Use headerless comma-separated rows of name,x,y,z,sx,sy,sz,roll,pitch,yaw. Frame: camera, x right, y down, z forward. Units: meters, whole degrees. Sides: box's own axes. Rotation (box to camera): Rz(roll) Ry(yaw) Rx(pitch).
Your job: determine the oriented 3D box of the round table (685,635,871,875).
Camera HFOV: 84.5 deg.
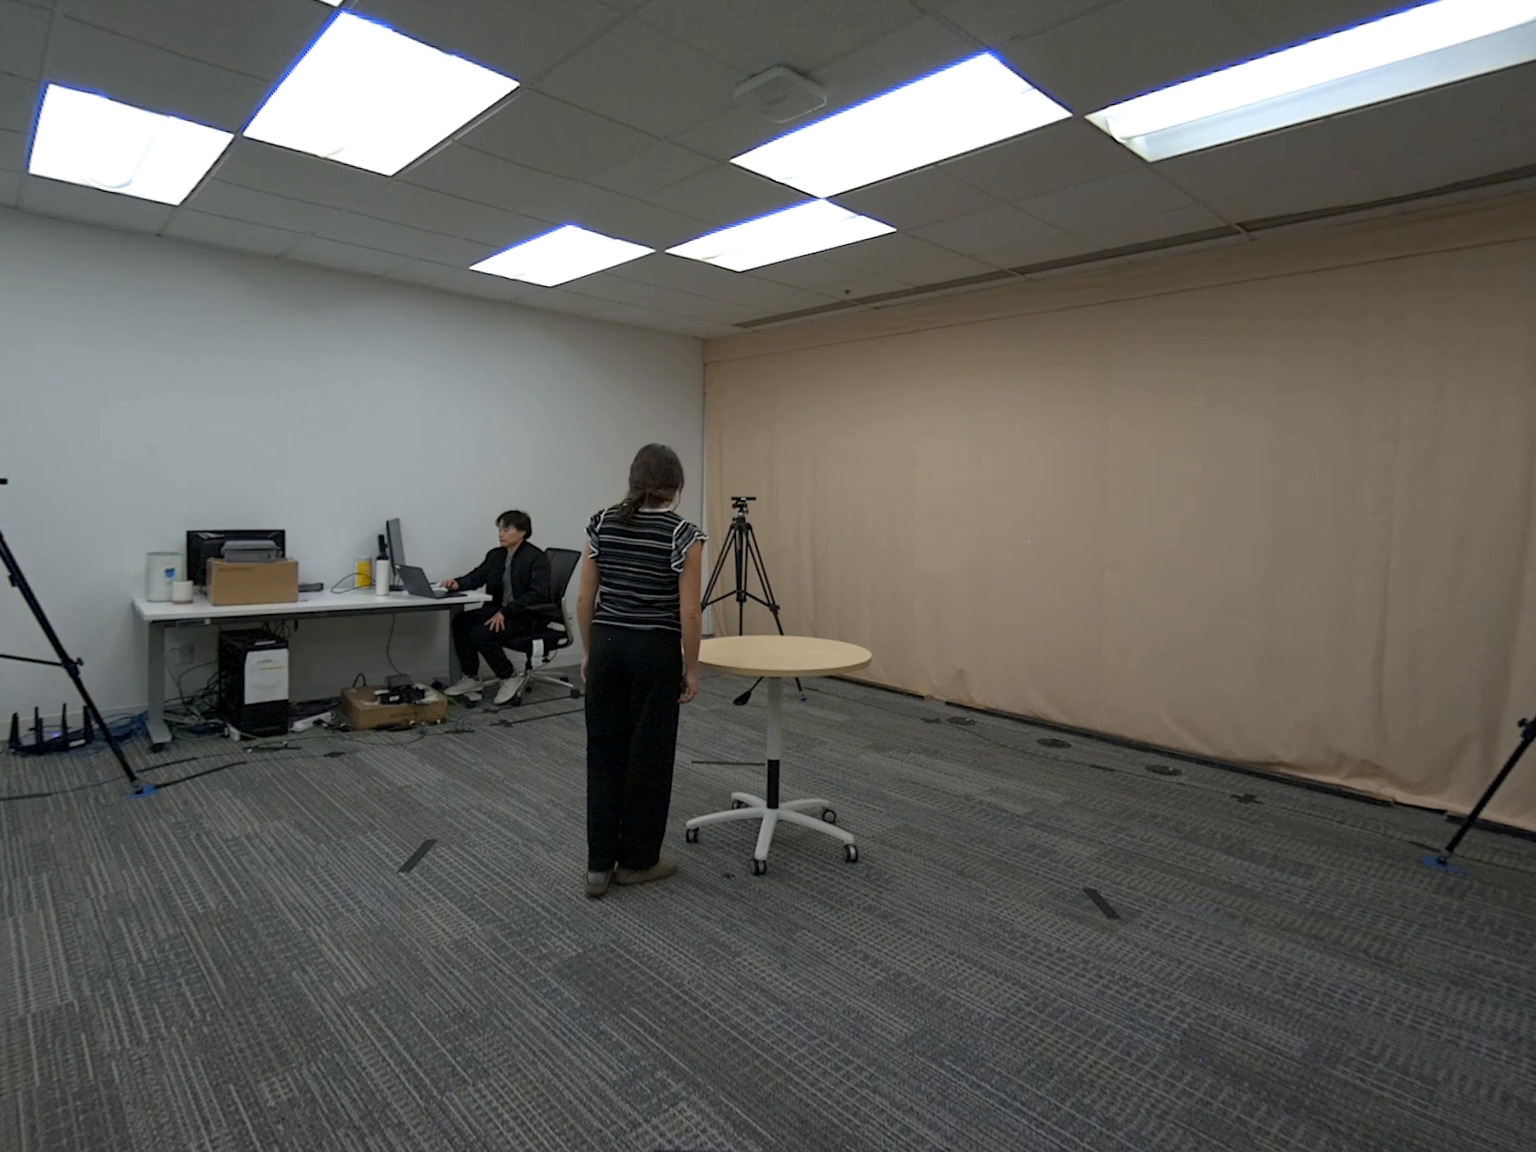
round table,0.024,0.695,3.419,0.763,0.792,0.766,1,4,-1
